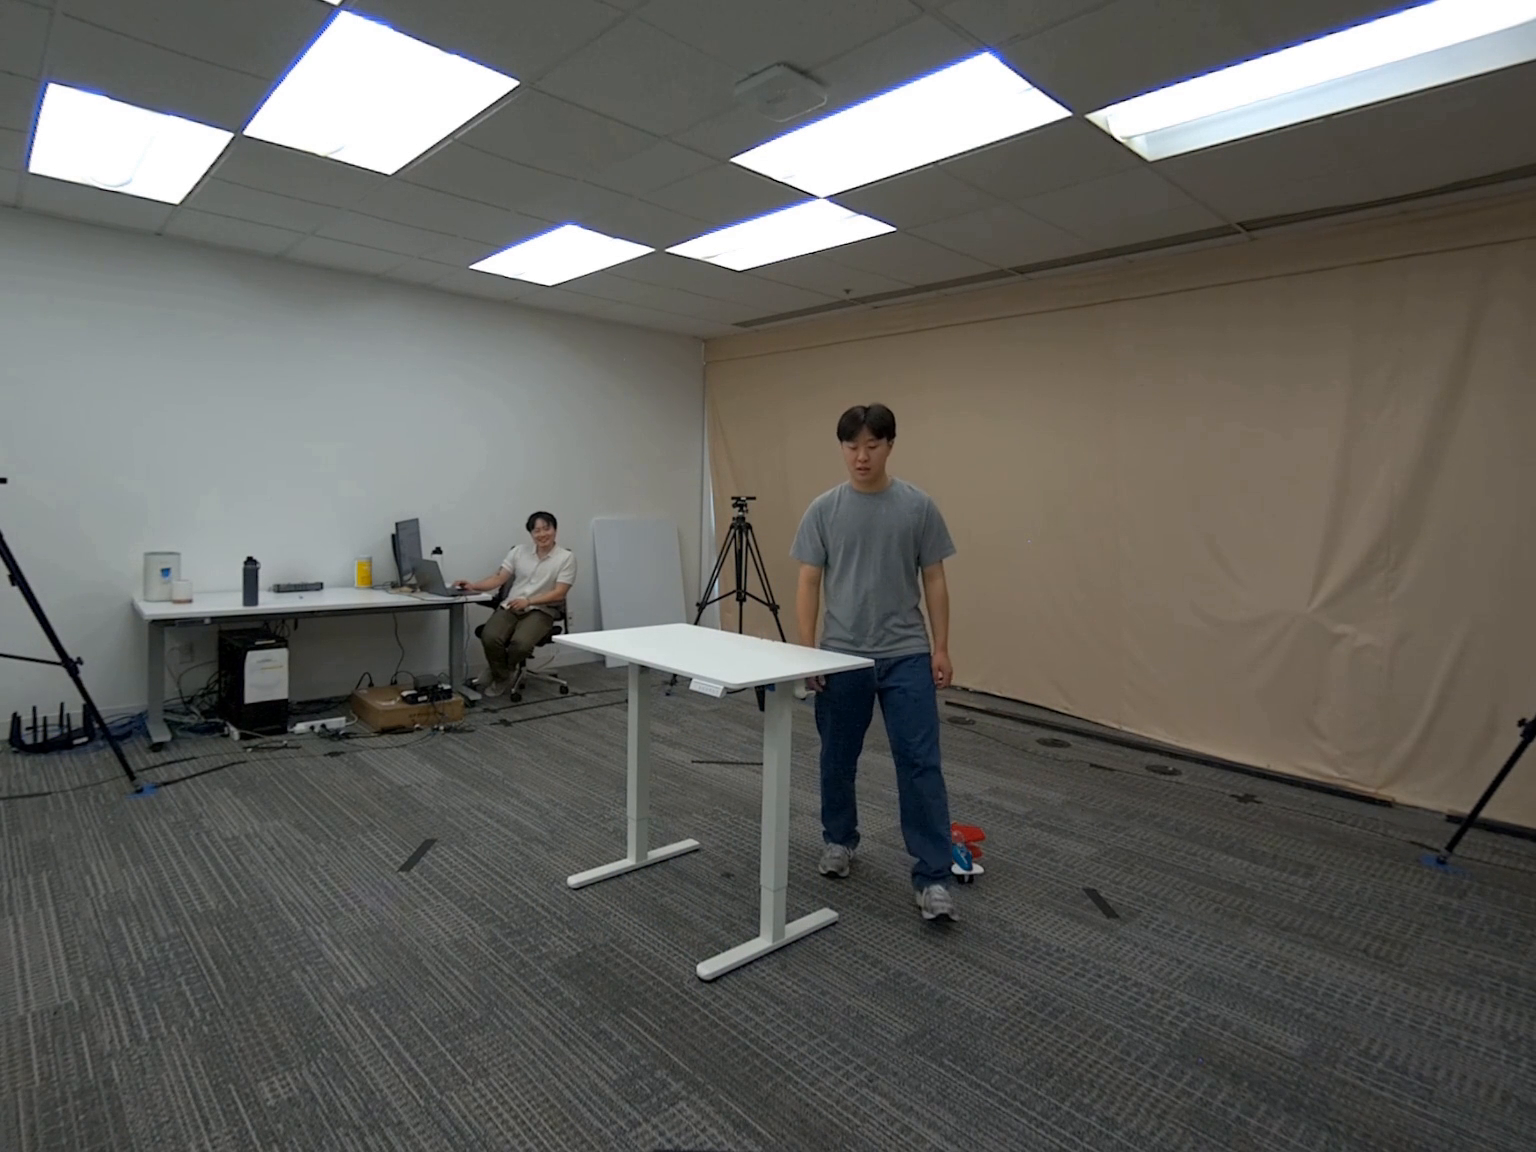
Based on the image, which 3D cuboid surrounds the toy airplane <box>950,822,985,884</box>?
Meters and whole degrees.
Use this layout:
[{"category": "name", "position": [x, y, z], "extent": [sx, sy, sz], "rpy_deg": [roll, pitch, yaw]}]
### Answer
[{"category": "toy airplane", "position": [0.718, 1.049, 3.185], "extent": [0.245, 0.156, 0.266], "rpy_deg": [-2, 5, -40]}]
